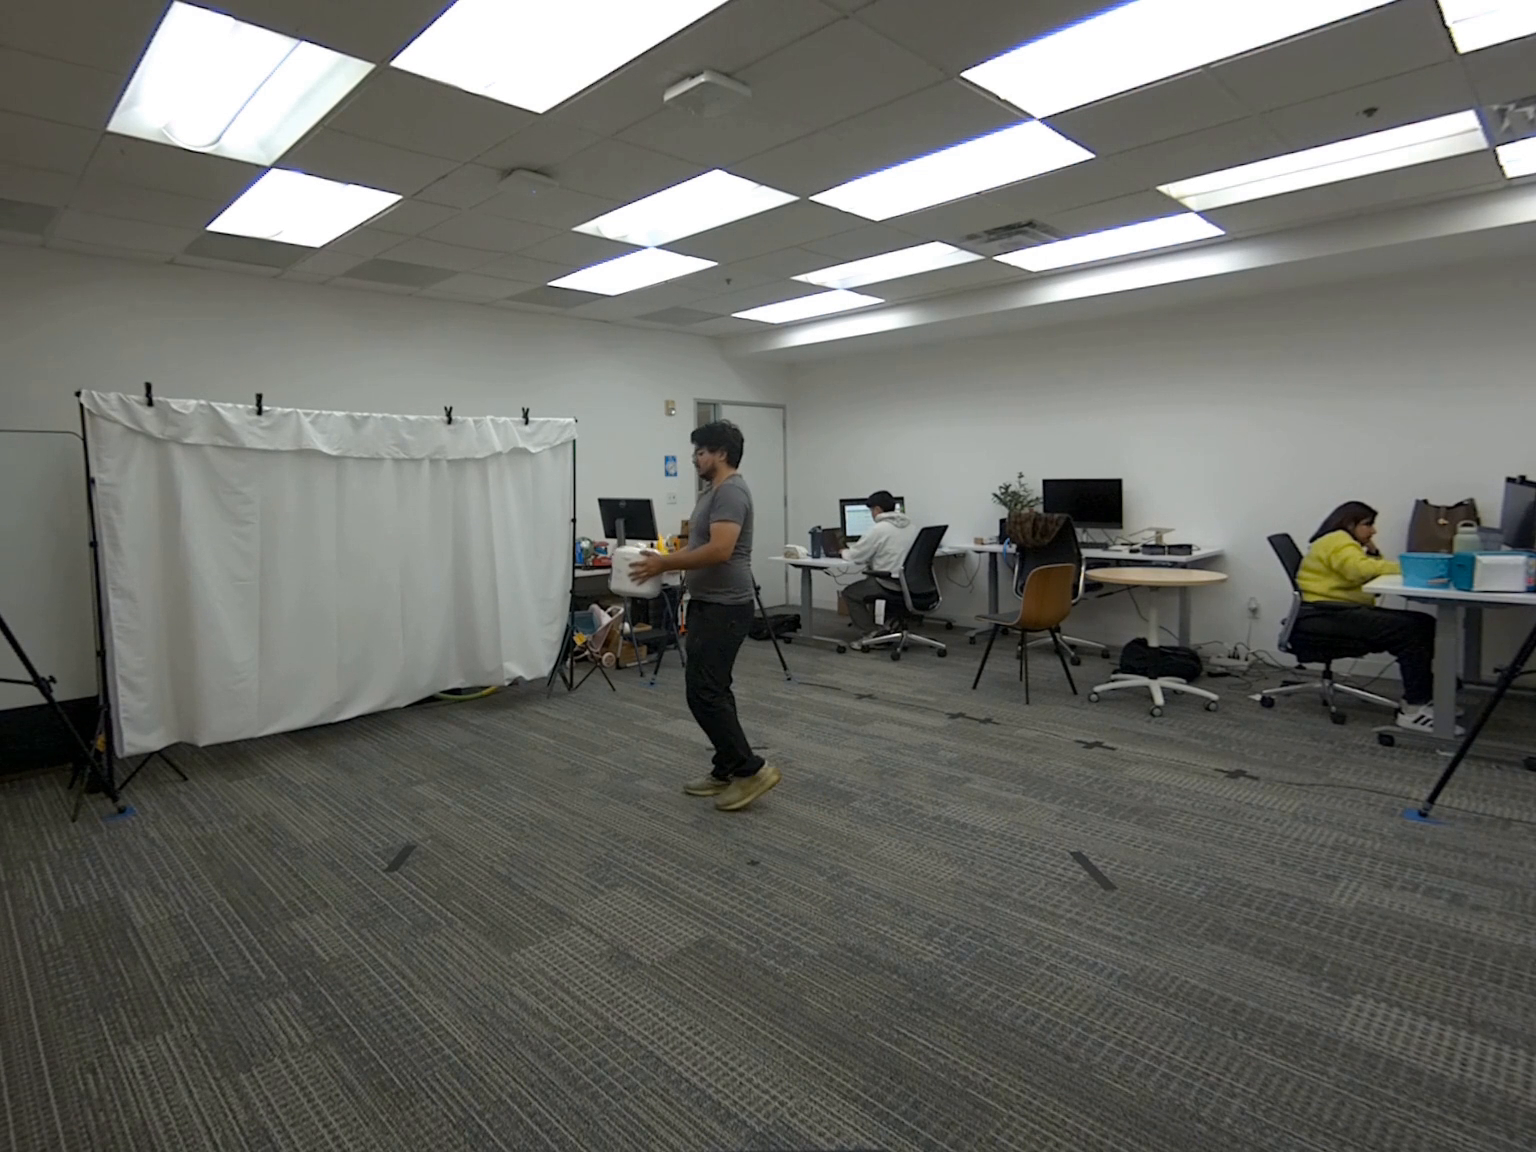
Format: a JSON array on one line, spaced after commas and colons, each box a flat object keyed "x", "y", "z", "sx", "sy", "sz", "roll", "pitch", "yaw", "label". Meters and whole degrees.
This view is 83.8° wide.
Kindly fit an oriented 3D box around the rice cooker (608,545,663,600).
[{"x": -0.554, "y": -0.030, "z": 3.670, "sx": 0.213, "sy": 0.233, "sz": 0.225, "roll": 5, "pitch": 1, "yaw": -20, "label": "rice cooker"}]
